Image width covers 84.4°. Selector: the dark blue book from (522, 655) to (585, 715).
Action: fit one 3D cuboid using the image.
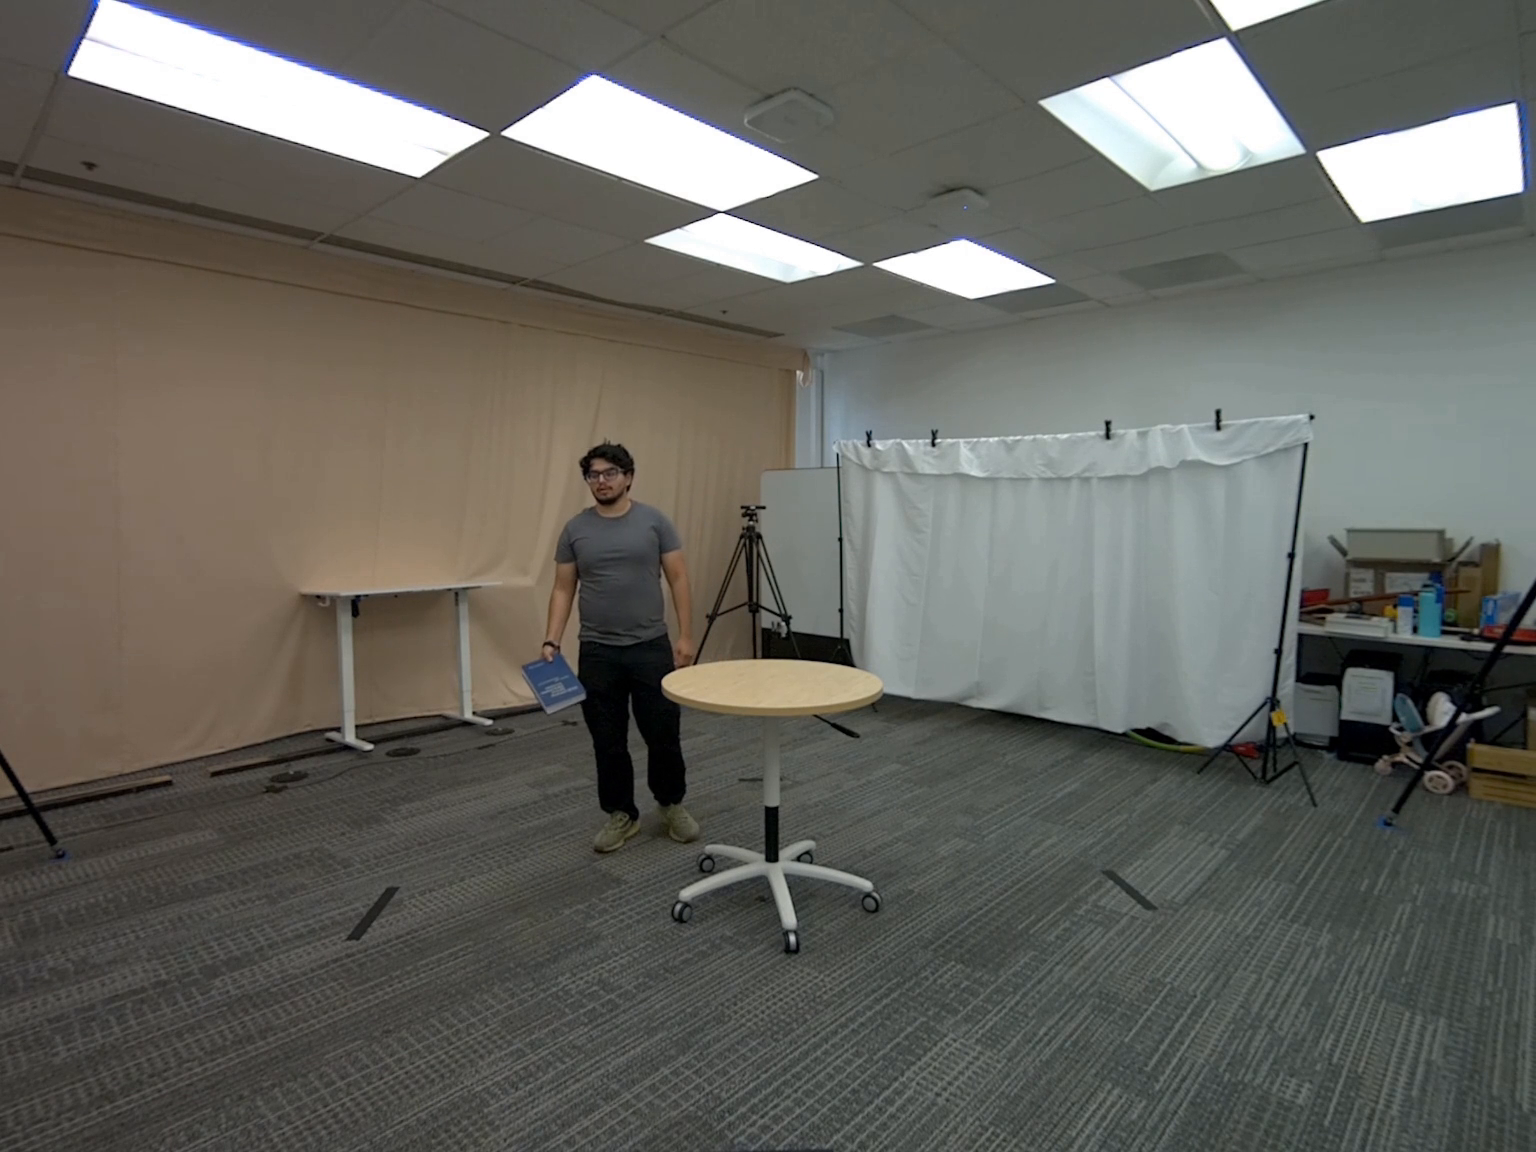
[{"bbox_3d":[-0.820,0.382,3.194,0.160,0.044,0.254,-17,42,-26],"label":"dark blue book"}]
